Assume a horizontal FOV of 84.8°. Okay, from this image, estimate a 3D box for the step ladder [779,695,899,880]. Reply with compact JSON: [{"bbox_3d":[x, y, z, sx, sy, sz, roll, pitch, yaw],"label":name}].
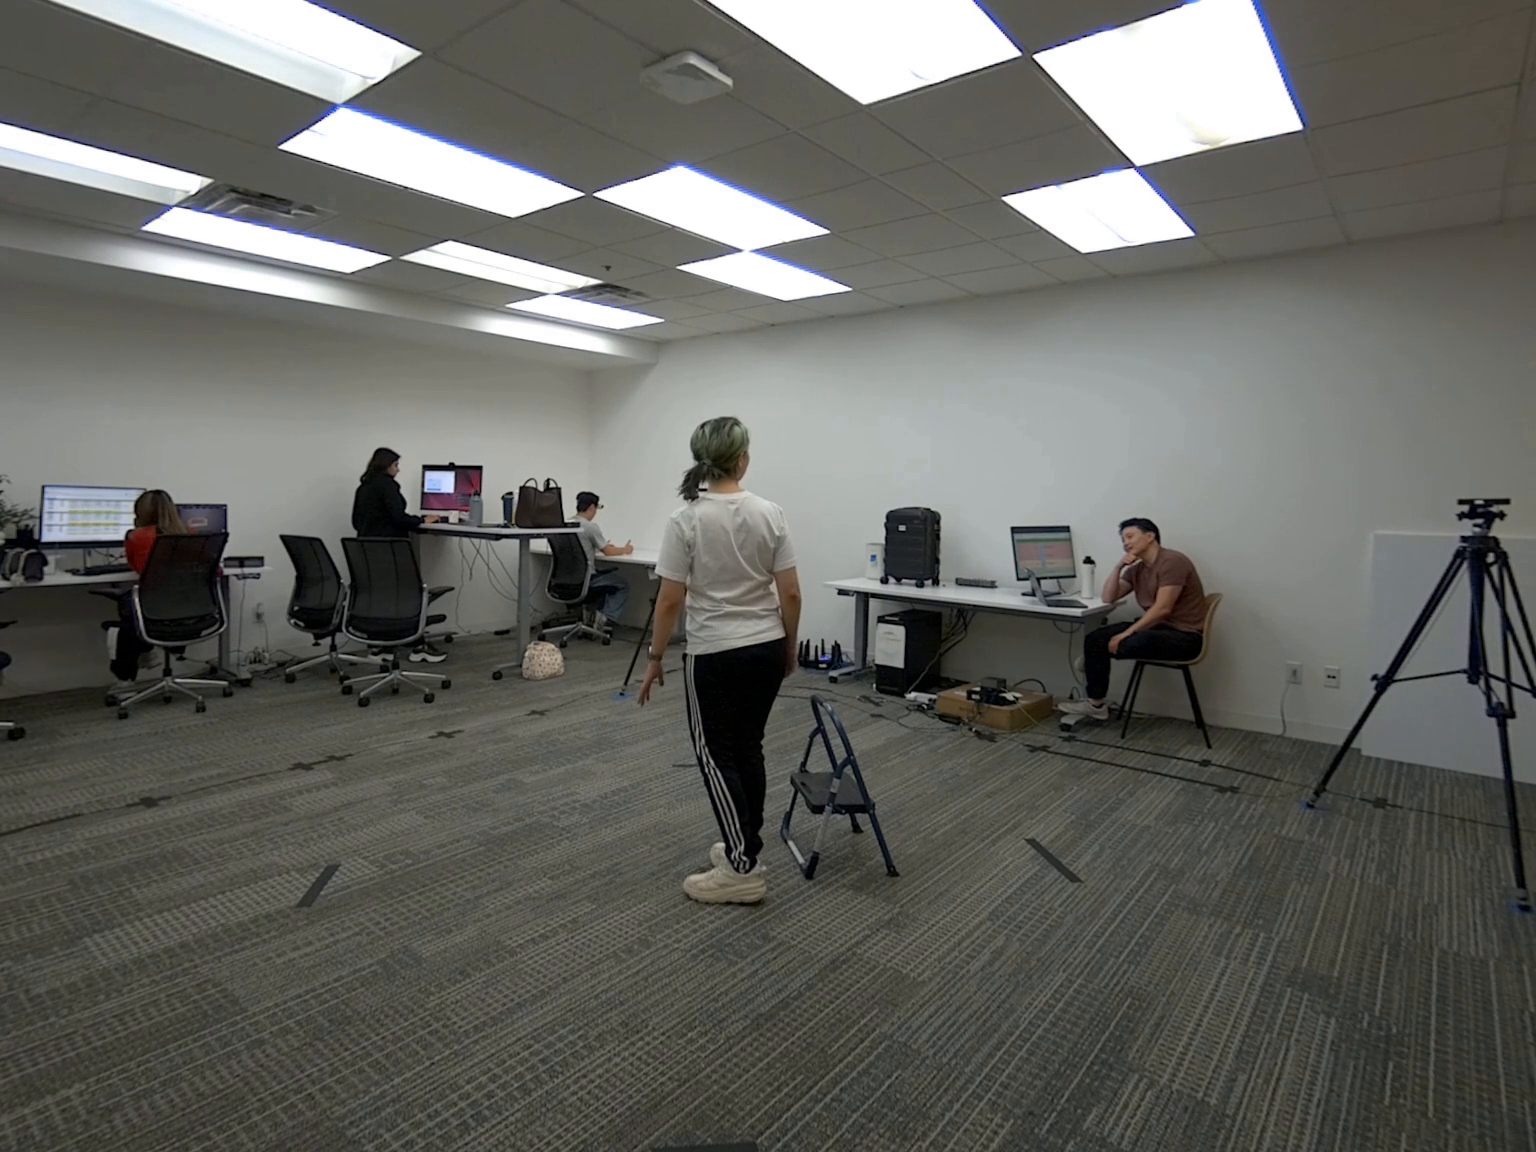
[{"bbox_3d":[0.255,0.761,3.255,0.345,0.604,0.437,0,3,-12],"label":"step ladder"}]
